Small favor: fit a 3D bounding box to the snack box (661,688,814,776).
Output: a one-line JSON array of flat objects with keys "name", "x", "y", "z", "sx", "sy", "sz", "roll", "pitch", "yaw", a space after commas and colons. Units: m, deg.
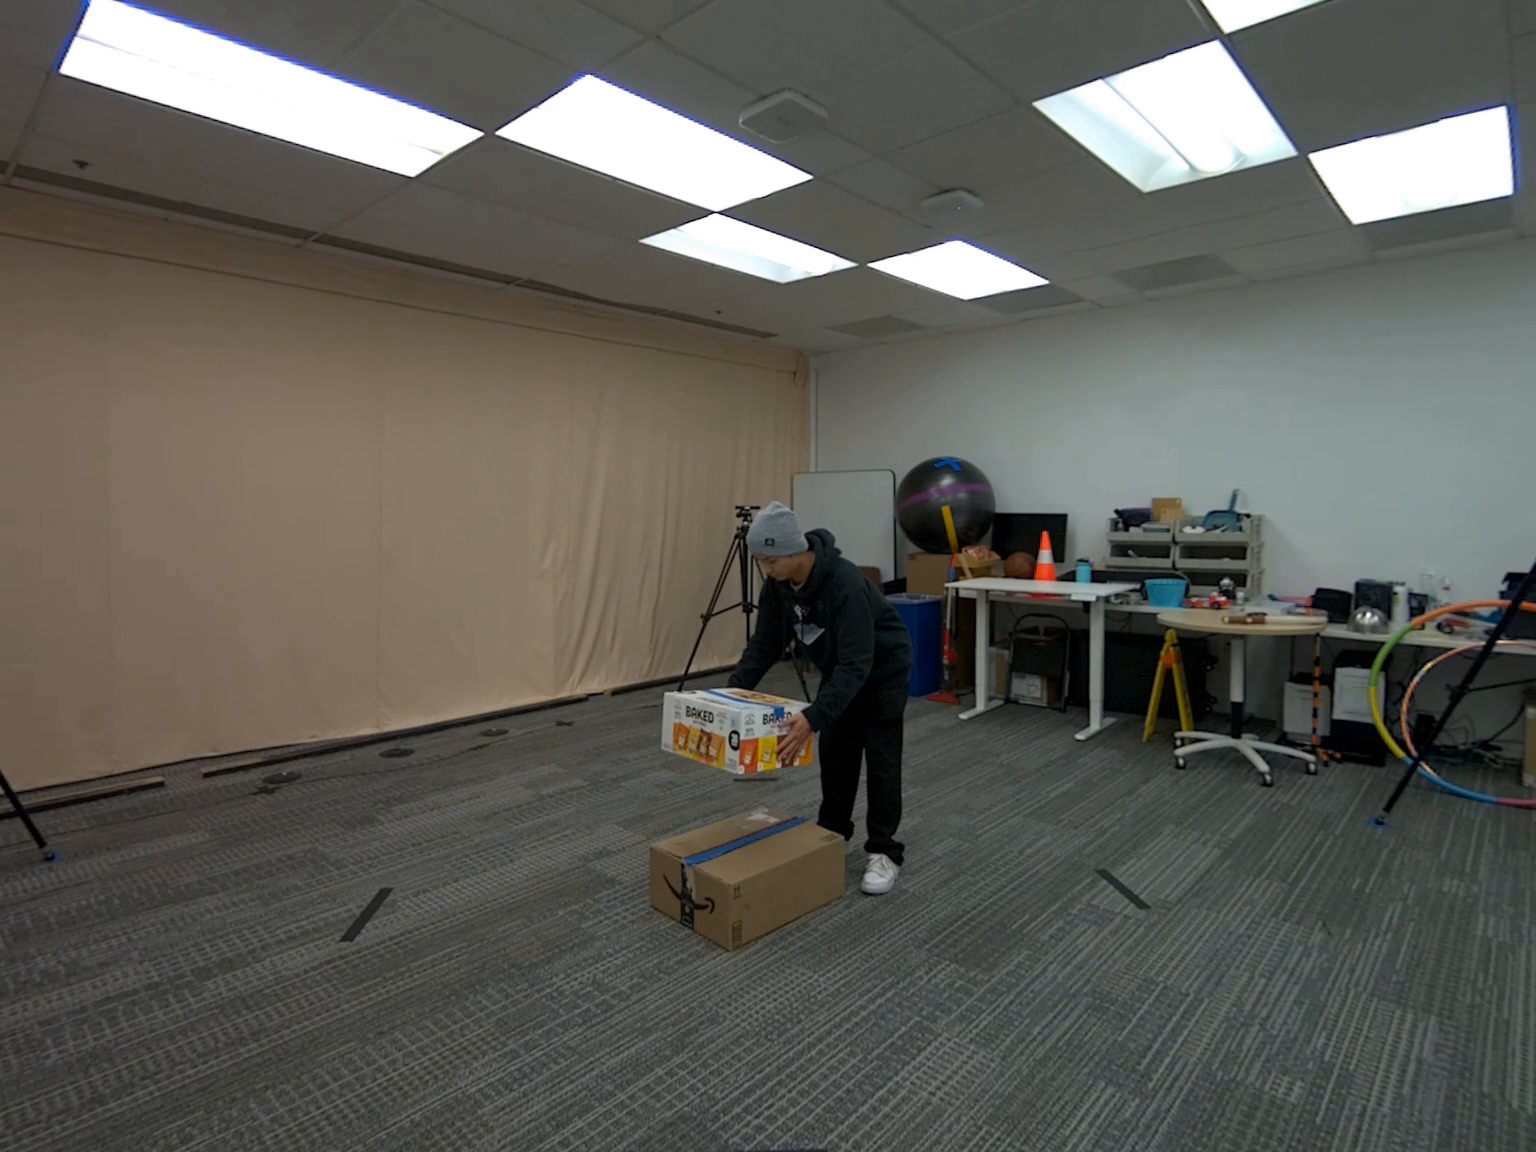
[{"name": "snack box", "x": -0.107, "y": 0.527, "z": 2.917, "sx": 0.329, "sy": 0.206, "sz": 0.418, "roll": 4, "pitch": -1, "yaw": -42}]
